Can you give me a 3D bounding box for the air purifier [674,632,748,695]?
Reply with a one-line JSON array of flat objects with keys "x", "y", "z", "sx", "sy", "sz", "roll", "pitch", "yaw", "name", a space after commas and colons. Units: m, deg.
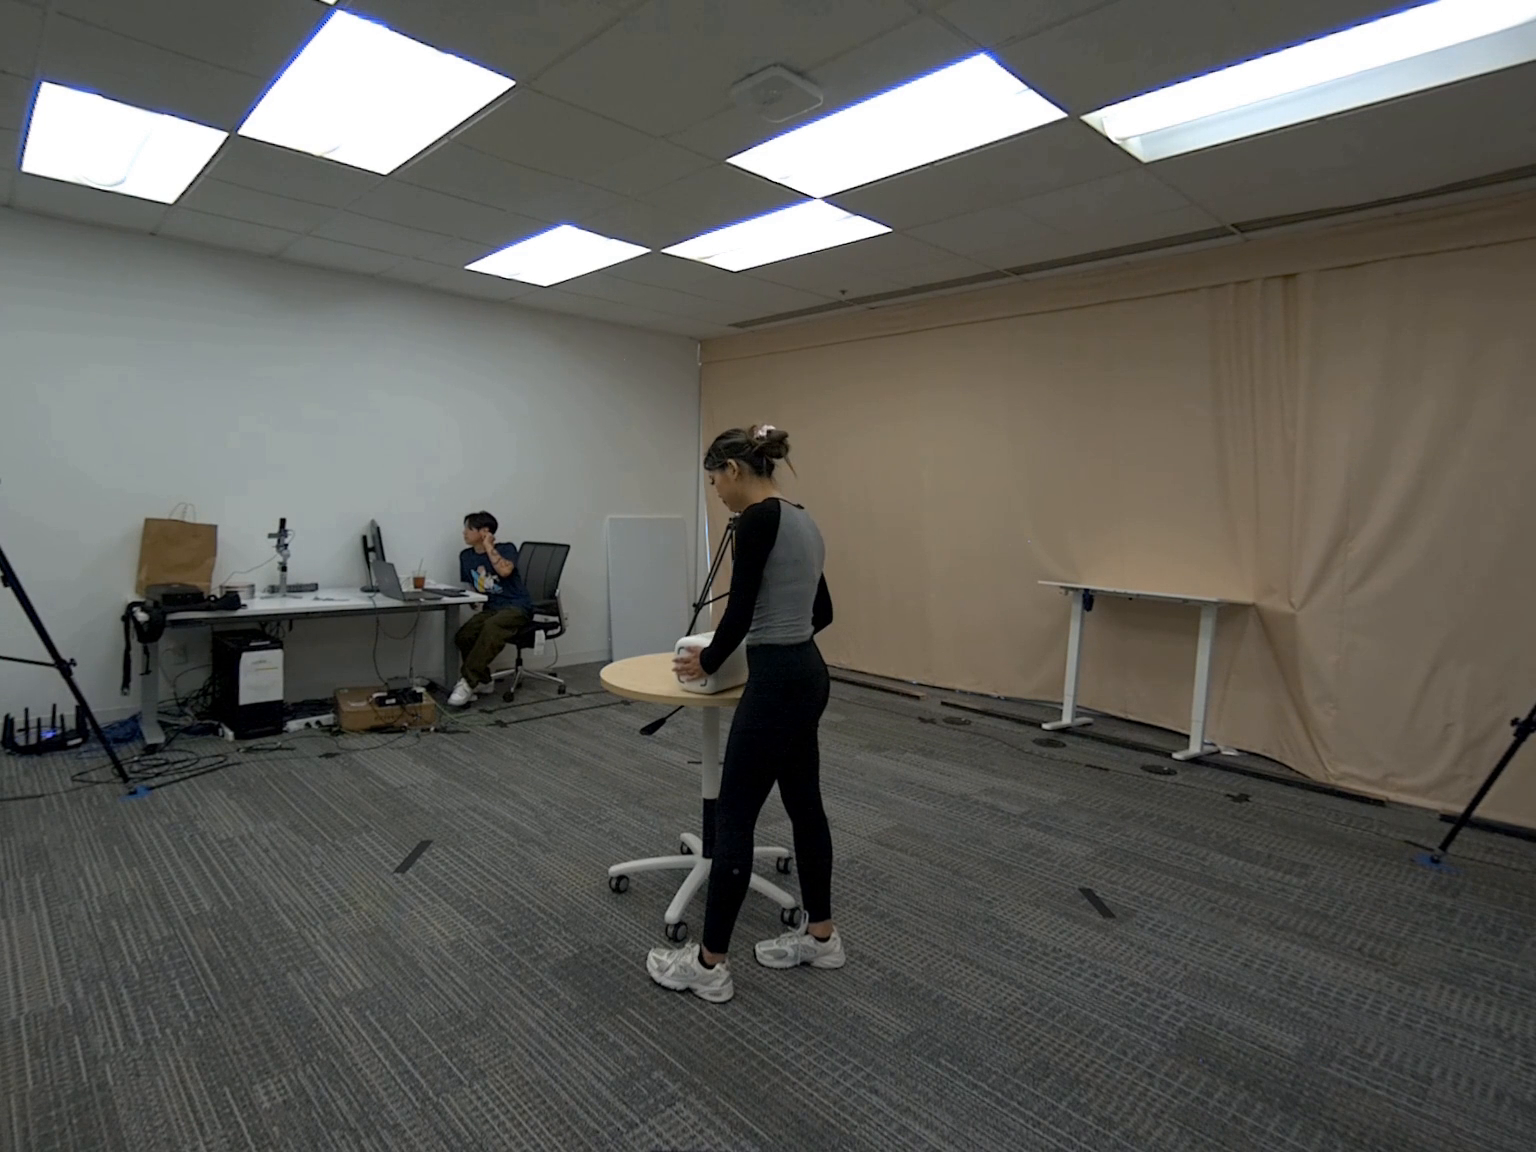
[{"x": -0.161, "y": 0.269, "z": 2.664, "sx": 0.175, "sy": 0.171, "sz": 0.260, "roll": 5, "pitch": 6, "yaw": 33, "name": "air purifier"}]
